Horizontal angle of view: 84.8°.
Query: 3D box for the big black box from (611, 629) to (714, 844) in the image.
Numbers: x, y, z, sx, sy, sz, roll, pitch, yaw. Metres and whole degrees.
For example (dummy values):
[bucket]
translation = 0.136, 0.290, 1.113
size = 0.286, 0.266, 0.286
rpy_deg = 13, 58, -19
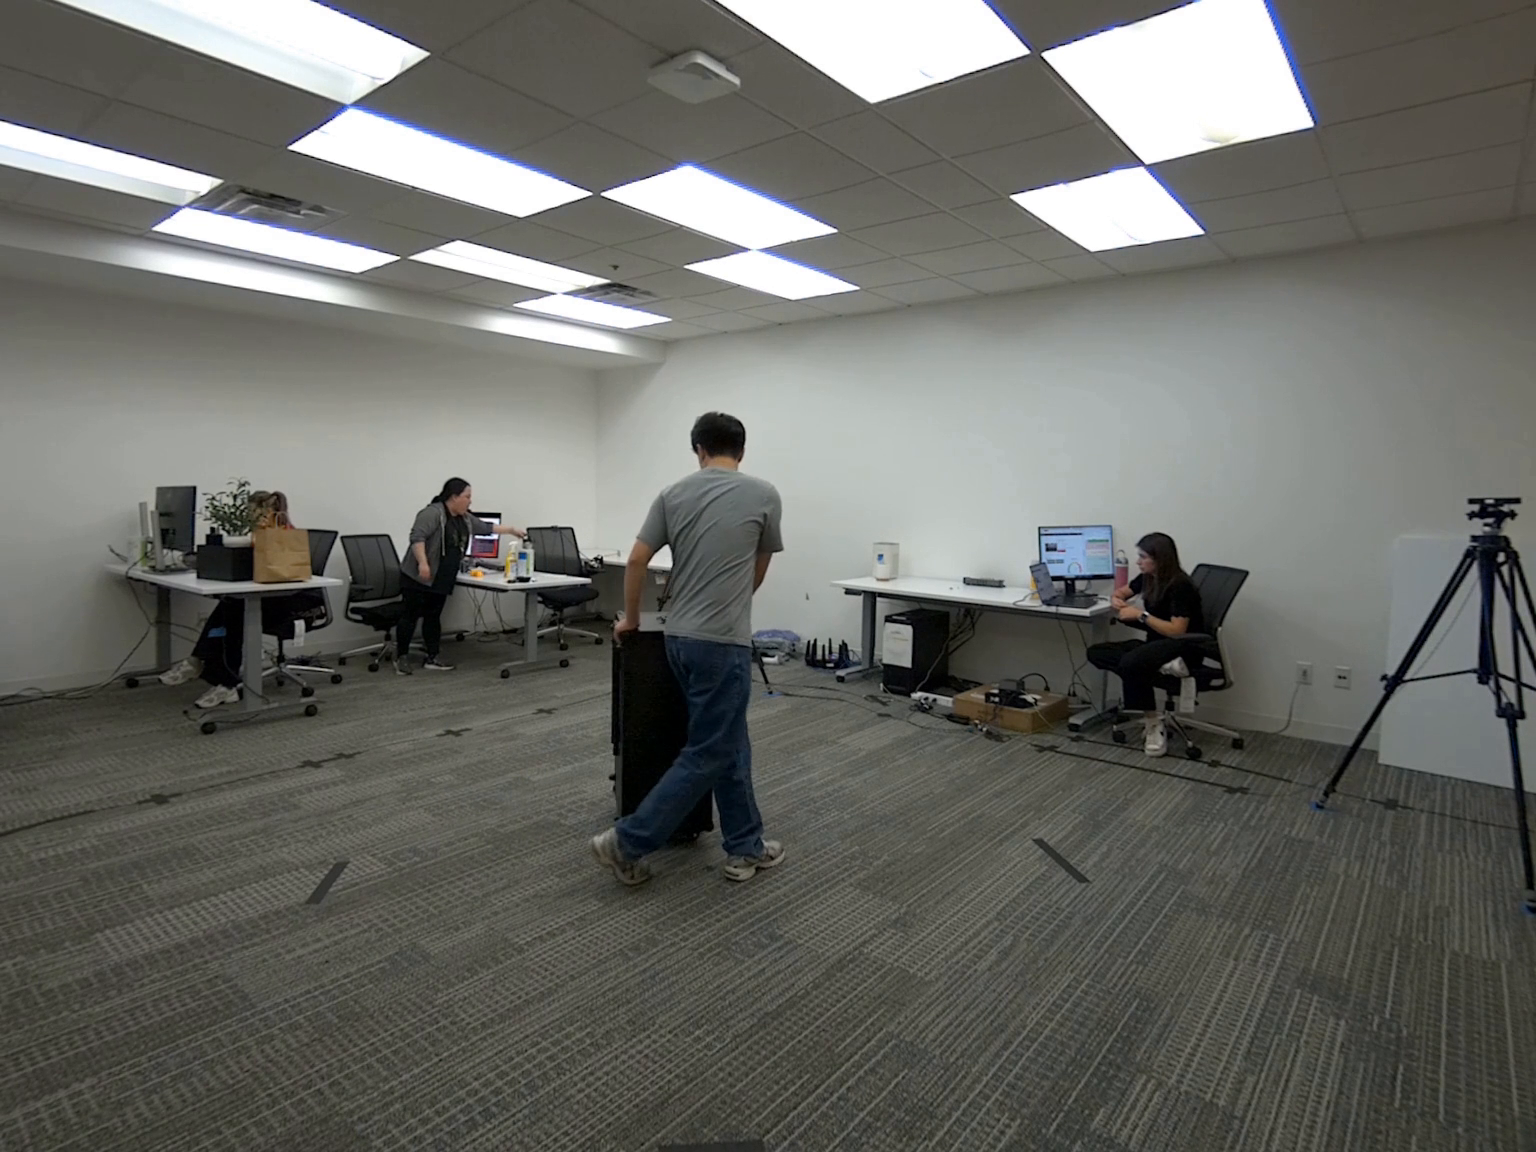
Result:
[big black box]
translation = -0.454, 0.604, 3.456
size = 0.392, 0.859, 0.529
rpy_deg = 0, 3, -11
